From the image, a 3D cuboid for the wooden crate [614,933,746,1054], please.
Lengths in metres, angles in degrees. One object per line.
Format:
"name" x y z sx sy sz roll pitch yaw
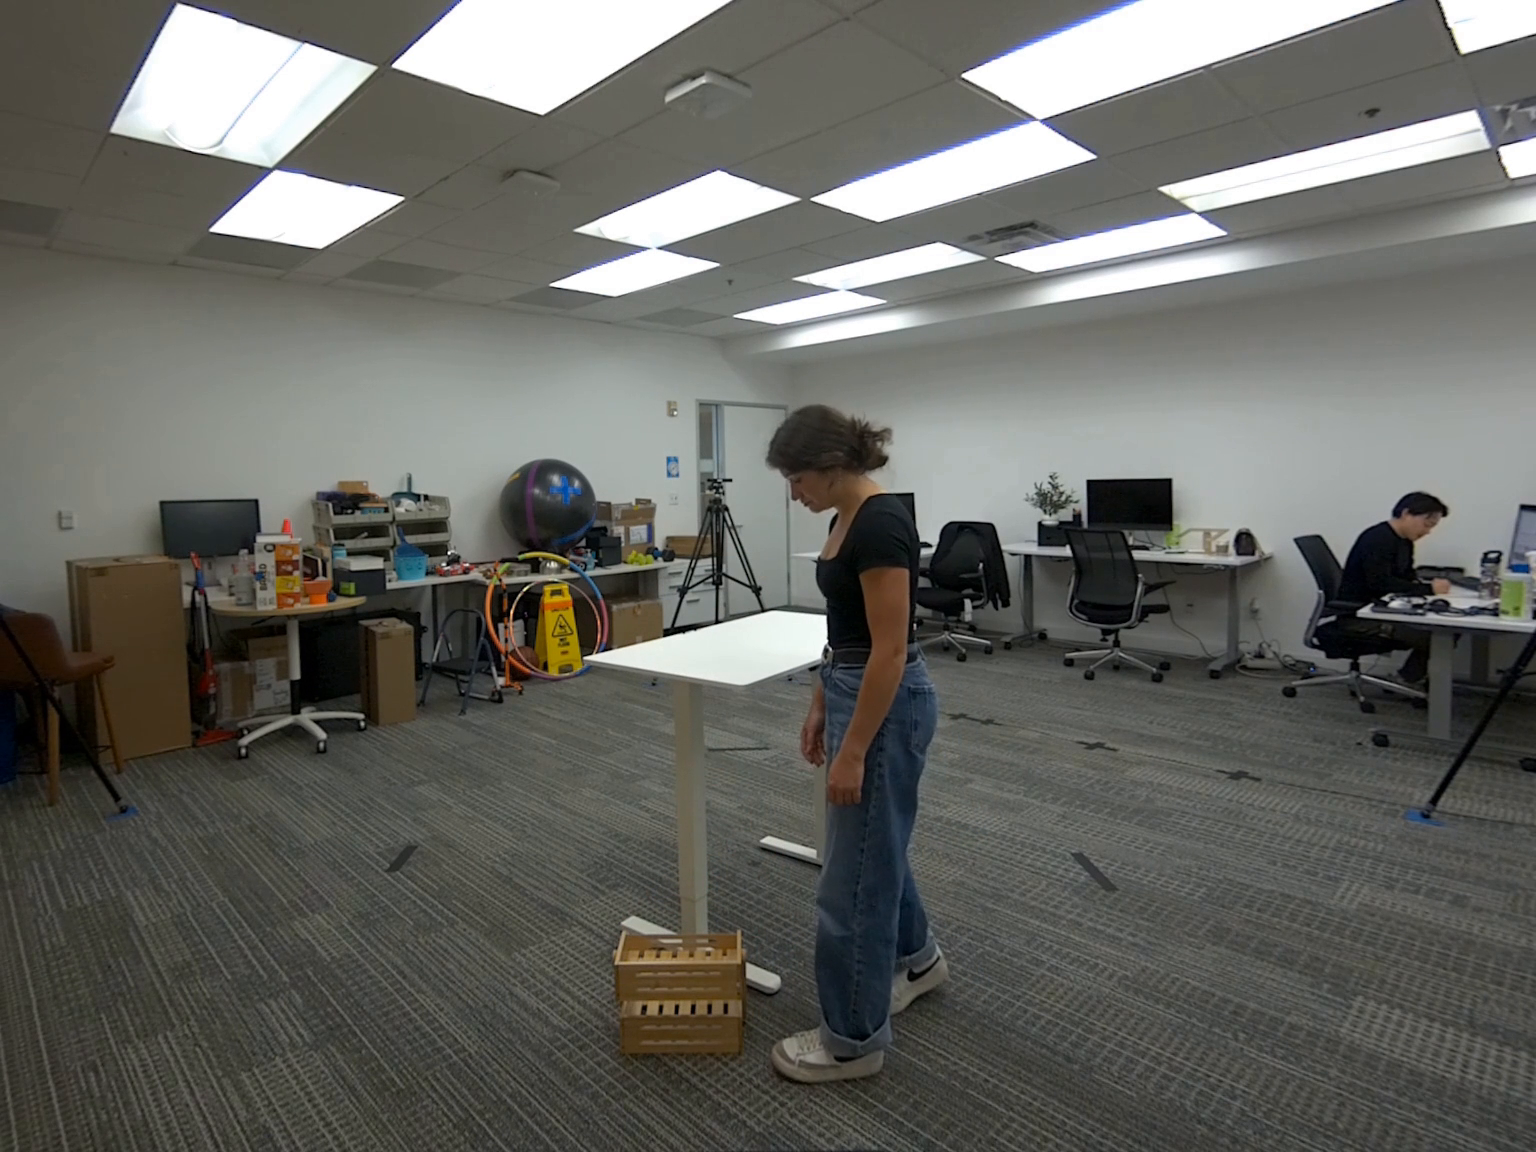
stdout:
"wooden crate" -0.207 1.013 2.197 0.324 0.272 0.304 -1 6 -1
